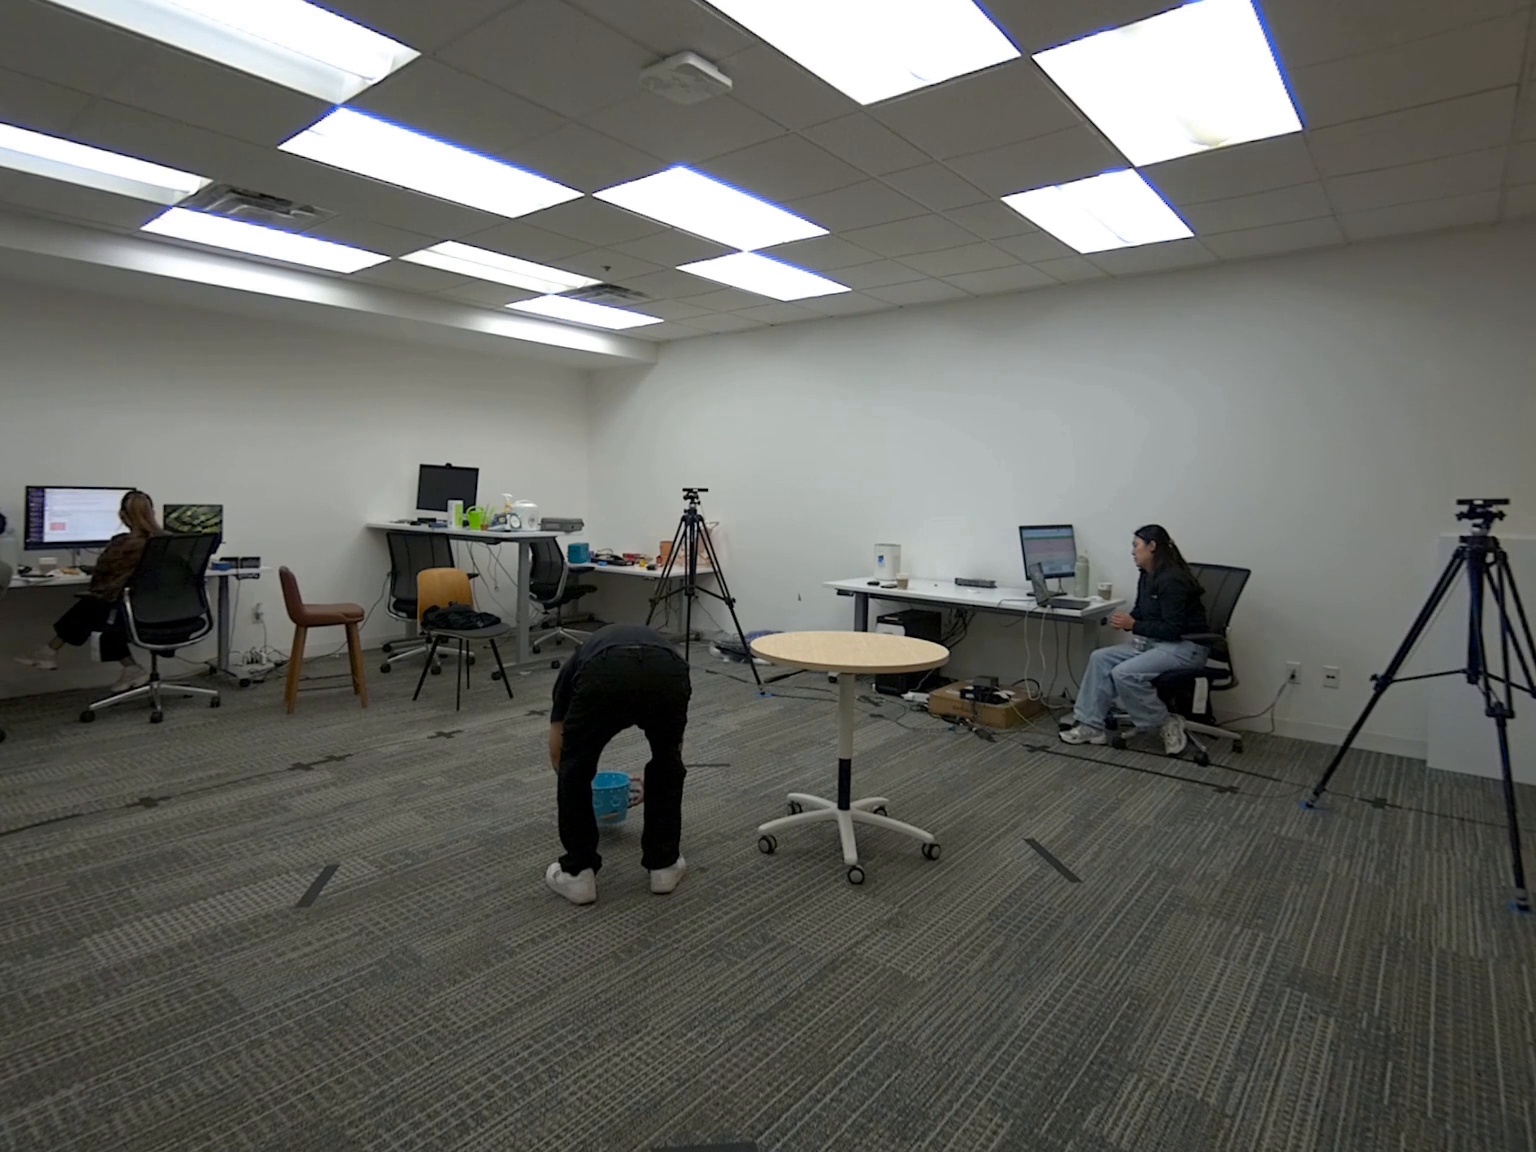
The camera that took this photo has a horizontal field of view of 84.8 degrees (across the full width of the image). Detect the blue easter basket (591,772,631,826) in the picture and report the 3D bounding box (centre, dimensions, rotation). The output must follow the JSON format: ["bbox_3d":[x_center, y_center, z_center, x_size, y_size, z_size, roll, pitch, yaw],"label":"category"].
[{"bbox_3d":[-0.677,0.905,3.448,0.243,0.156,0.244,-1,1,-2],"label":"blue easter basket"}]
